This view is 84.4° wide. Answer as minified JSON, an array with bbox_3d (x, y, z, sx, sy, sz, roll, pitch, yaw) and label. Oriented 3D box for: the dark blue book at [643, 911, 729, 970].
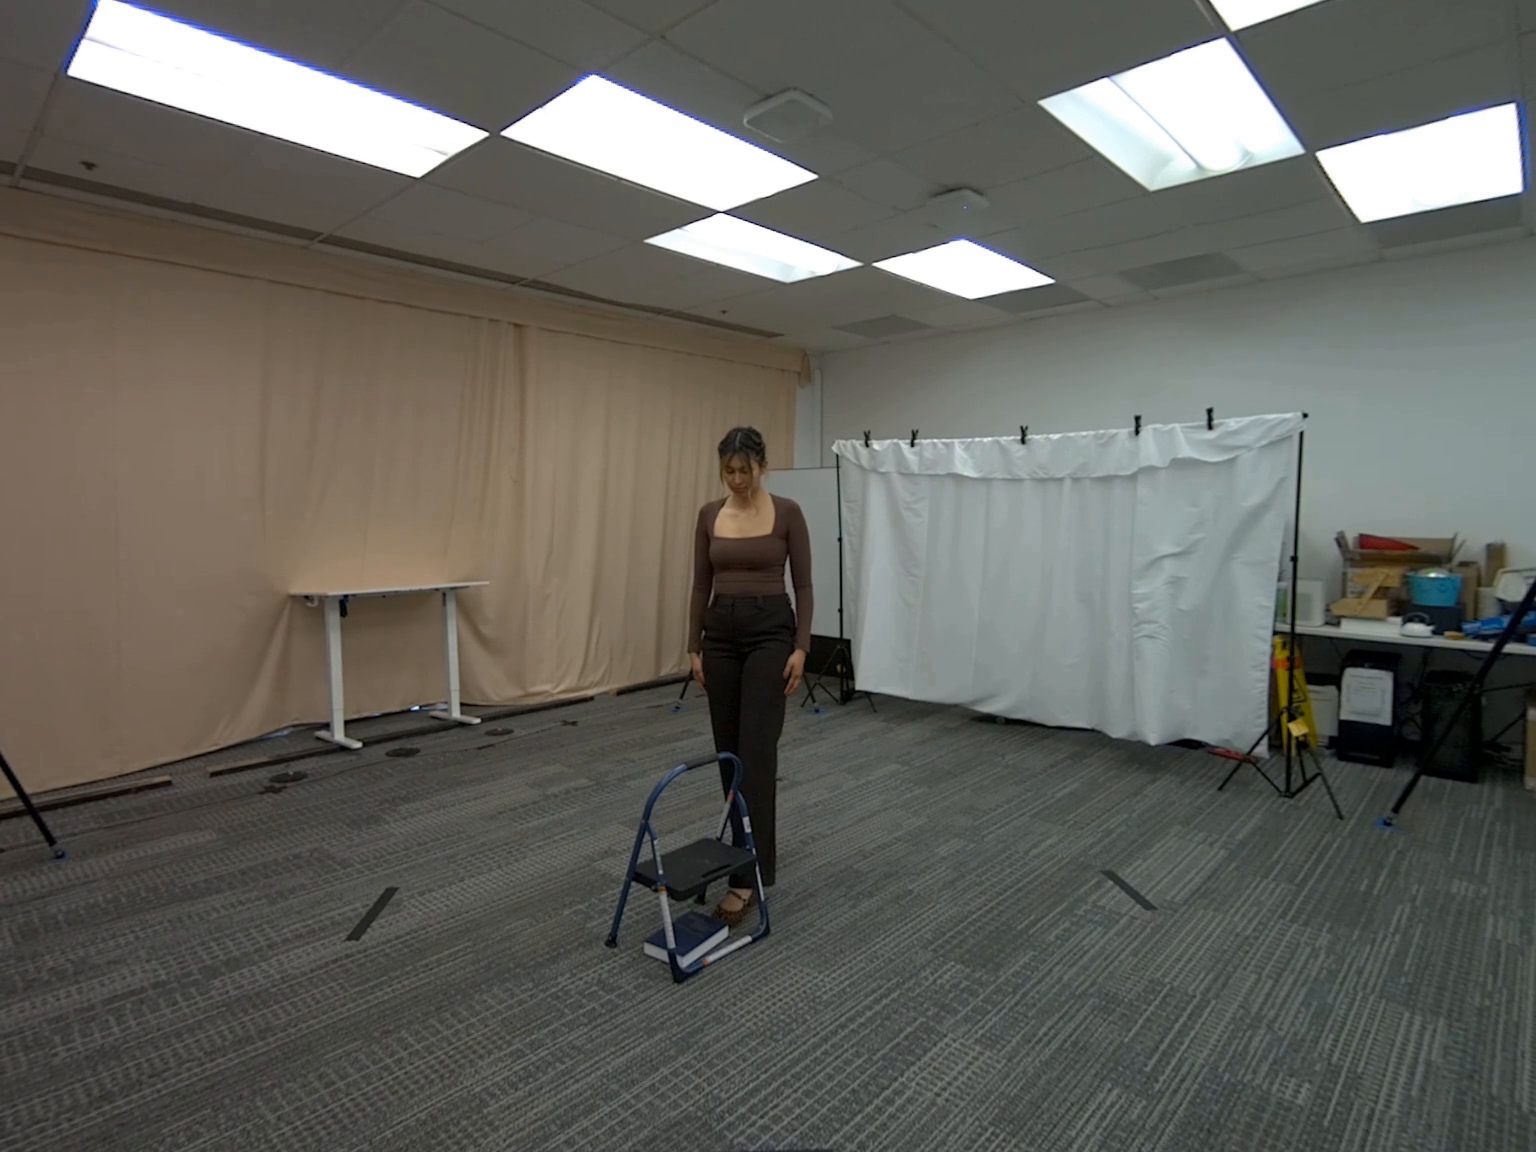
[{"bbox_3d":[-0.257,1.147,2.668,0.168,0.045,0.238,3,5,33],"label":"dark blue book"}]
